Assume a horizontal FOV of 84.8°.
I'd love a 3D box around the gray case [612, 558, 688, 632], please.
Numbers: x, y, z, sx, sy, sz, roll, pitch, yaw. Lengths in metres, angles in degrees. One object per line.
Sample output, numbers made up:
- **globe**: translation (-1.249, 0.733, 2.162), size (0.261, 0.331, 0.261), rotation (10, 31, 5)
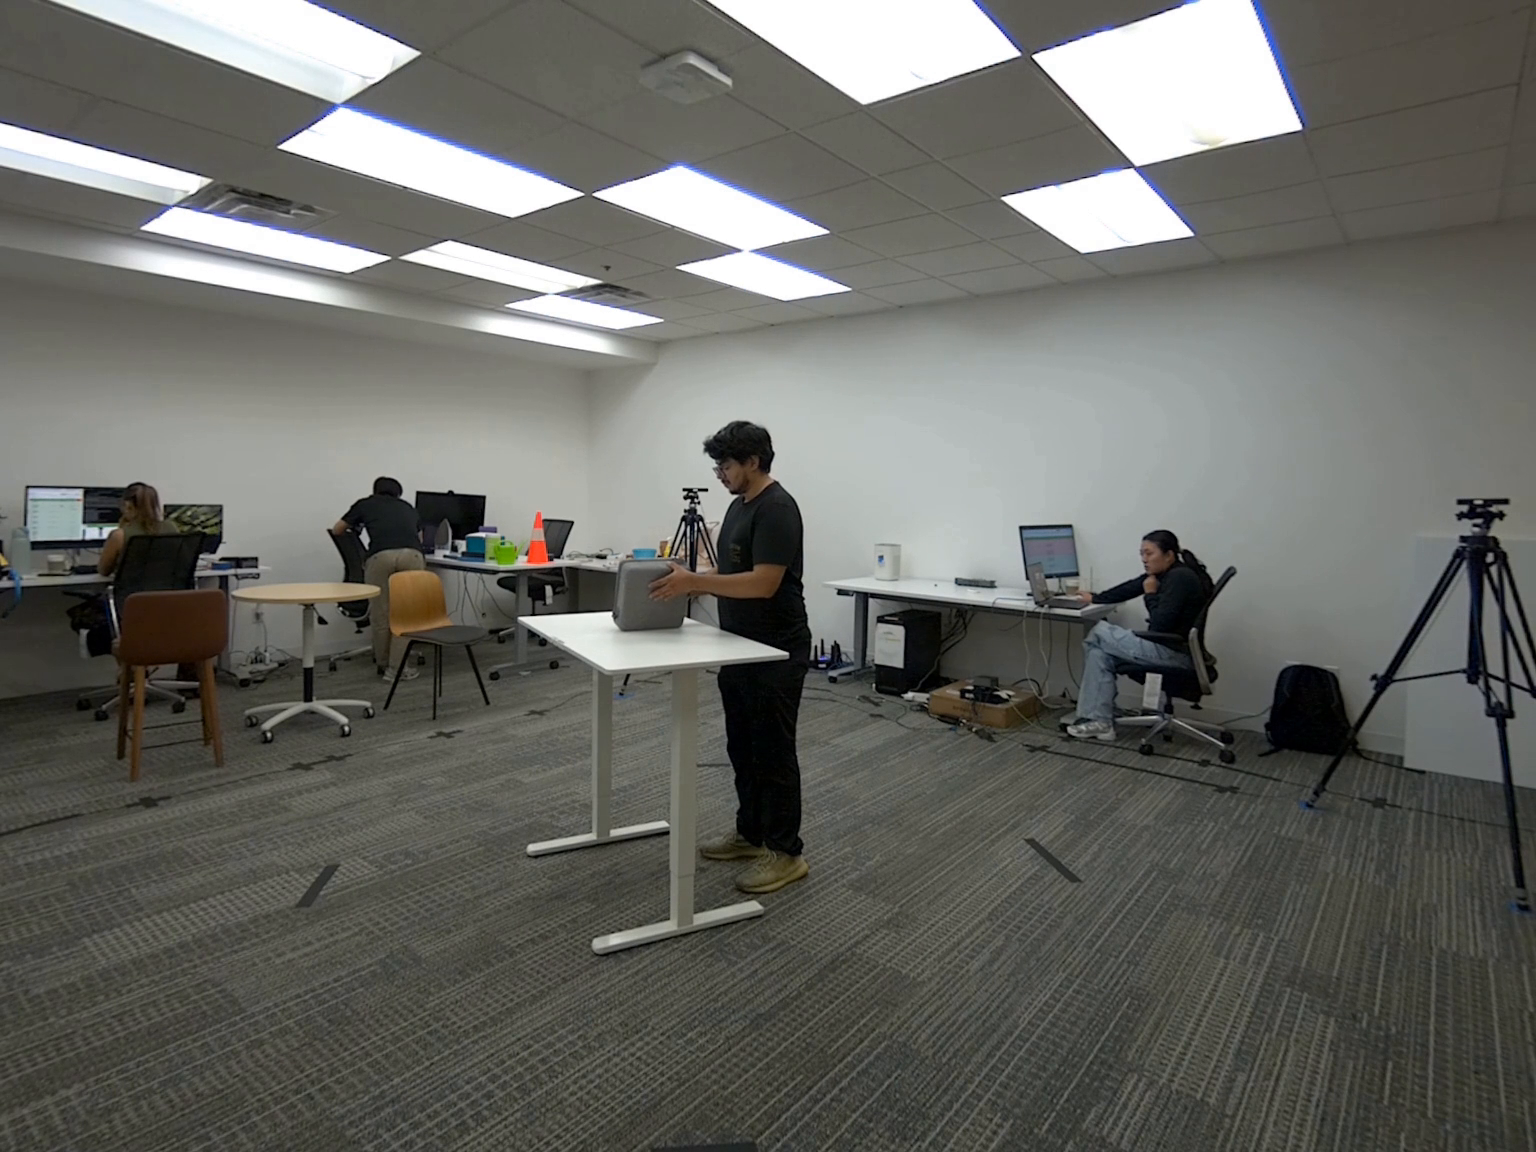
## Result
- **gray case**: translation (-0.425, 0.058, 3.031), size (0.251, 0.257, 0.108), rotation (-2, 19, -23)
